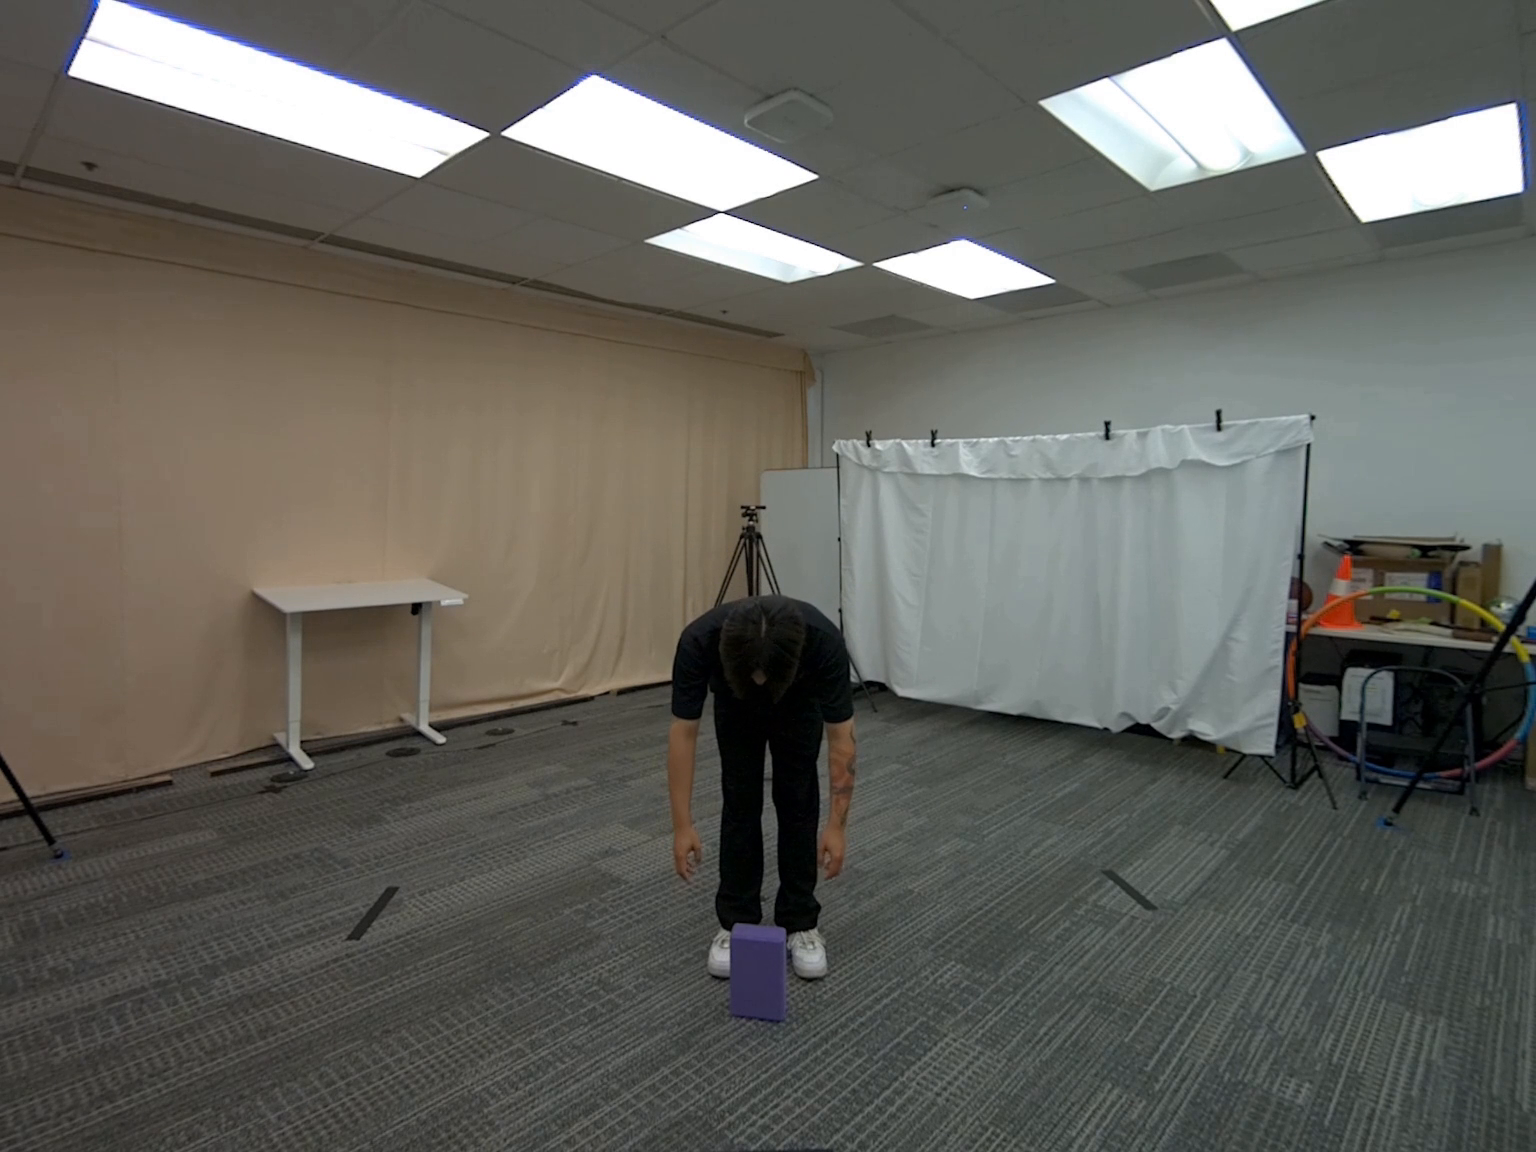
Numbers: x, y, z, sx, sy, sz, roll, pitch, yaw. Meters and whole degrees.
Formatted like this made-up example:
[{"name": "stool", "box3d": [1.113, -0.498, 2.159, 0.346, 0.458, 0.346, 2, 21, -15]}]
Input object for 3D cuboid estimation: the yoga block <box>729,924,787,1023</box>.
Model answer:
[{"name": "yoga block", "box3d": [-0.024, 1.084, 2.310, 0.151, 0.228, 0.076, 1, 5, 10]}]
